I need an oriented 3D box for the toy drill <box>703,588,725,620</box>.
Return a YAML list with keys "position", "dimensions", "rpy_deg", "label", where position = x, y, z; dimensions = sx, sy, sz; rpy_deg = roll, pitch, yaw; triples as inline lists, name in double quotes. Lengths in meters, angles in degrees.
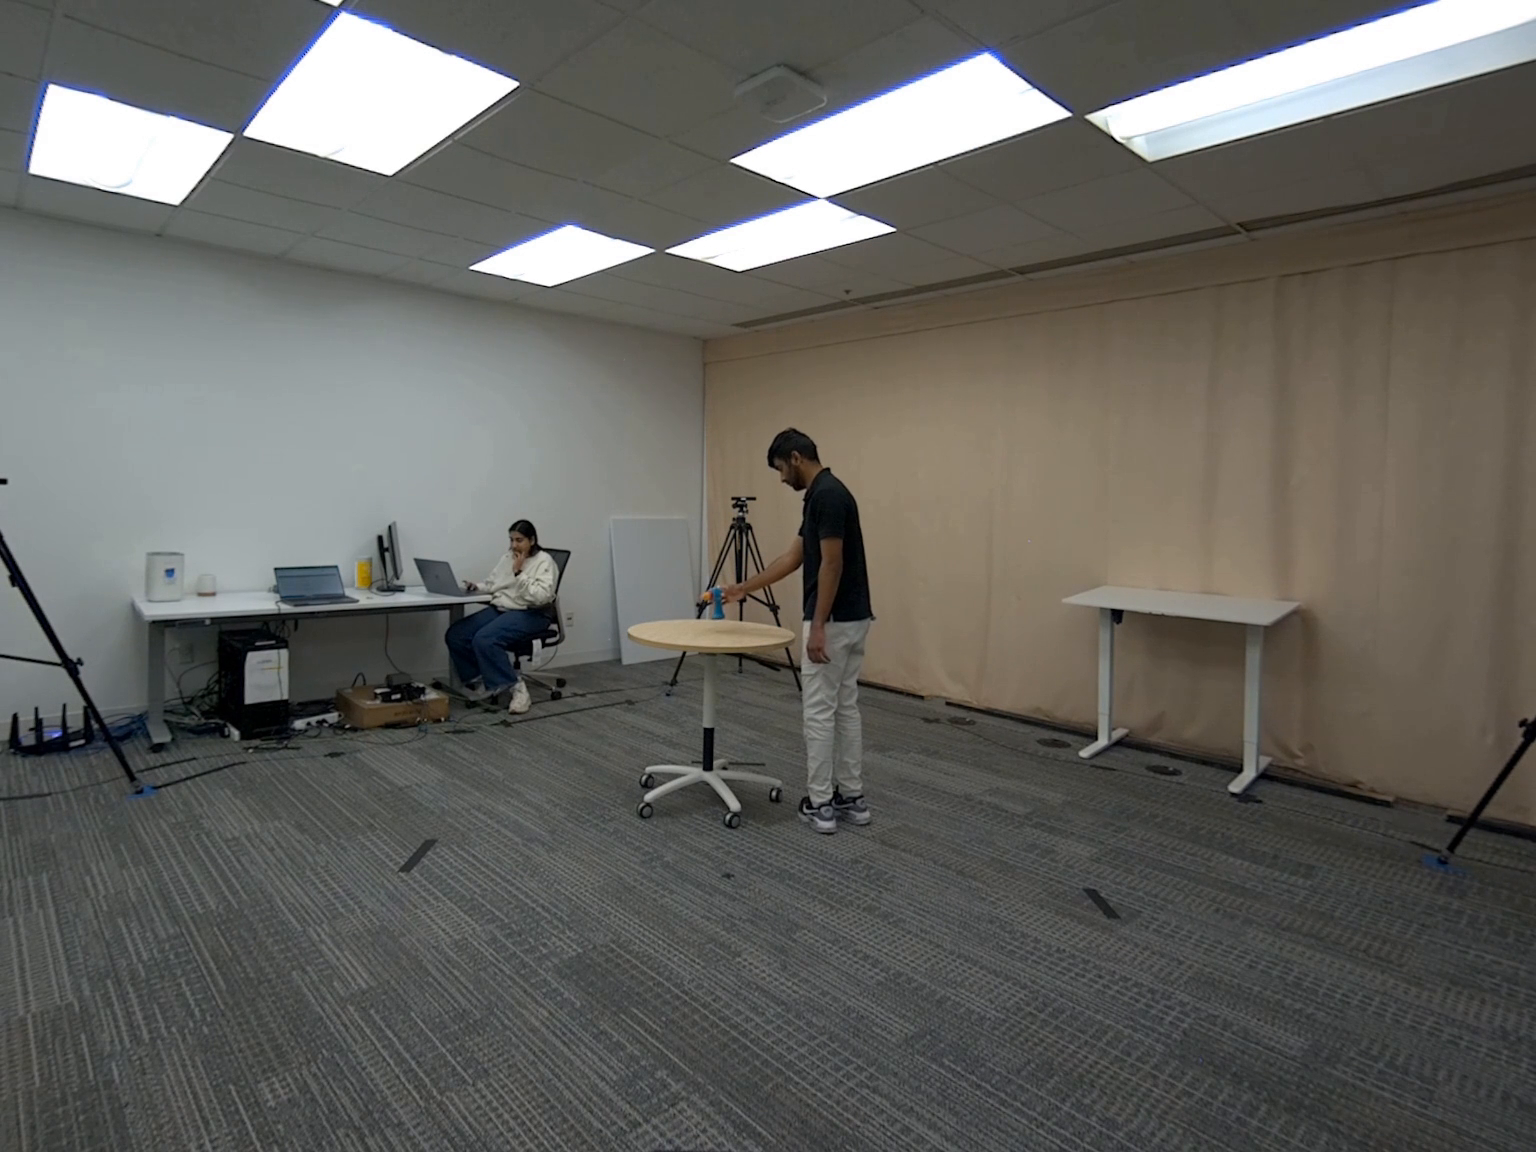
- position: [-0.256, 0.124, 3.822]
  dimensions: [0.062, 0.146, 0.166]
  rpy_deg: [-2, 2, 35]
  label: "toy drill"
